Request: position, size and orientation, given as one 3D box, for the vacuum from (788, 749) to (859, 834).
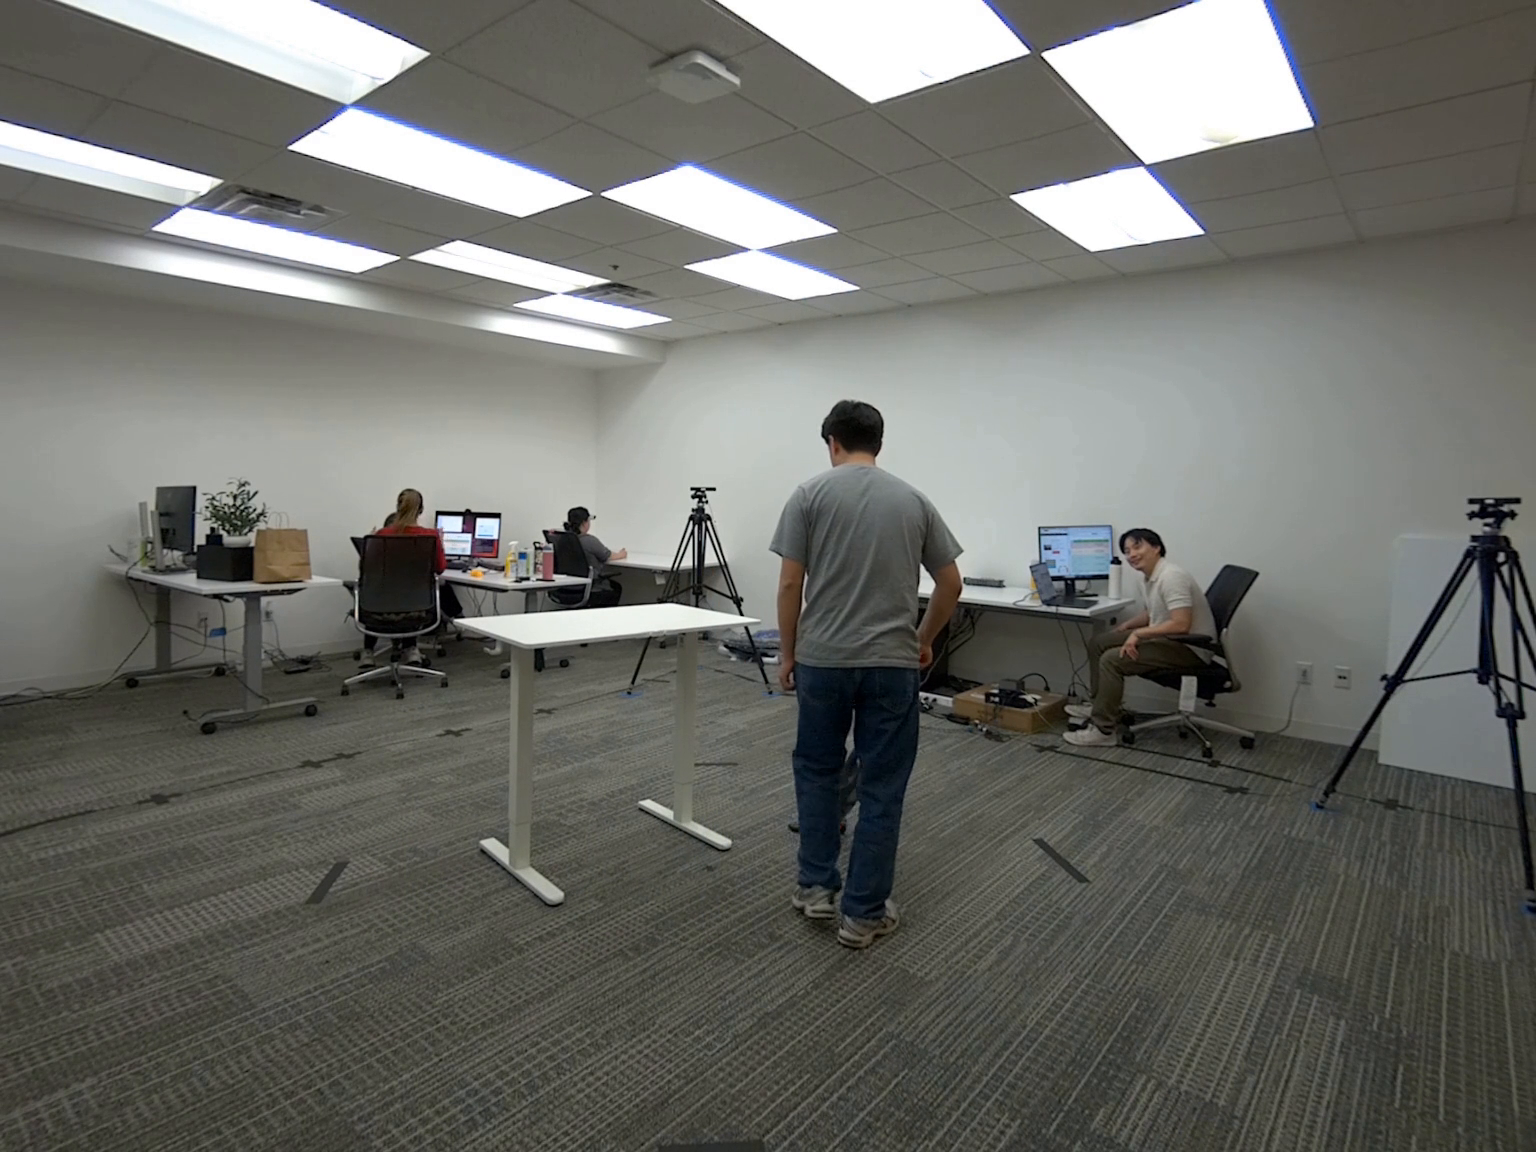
[{"bbox_3d":[0.355,0.645,3.175,0.246,1.033,0.150,-2,44,-28],"label":"vacuum"}]
